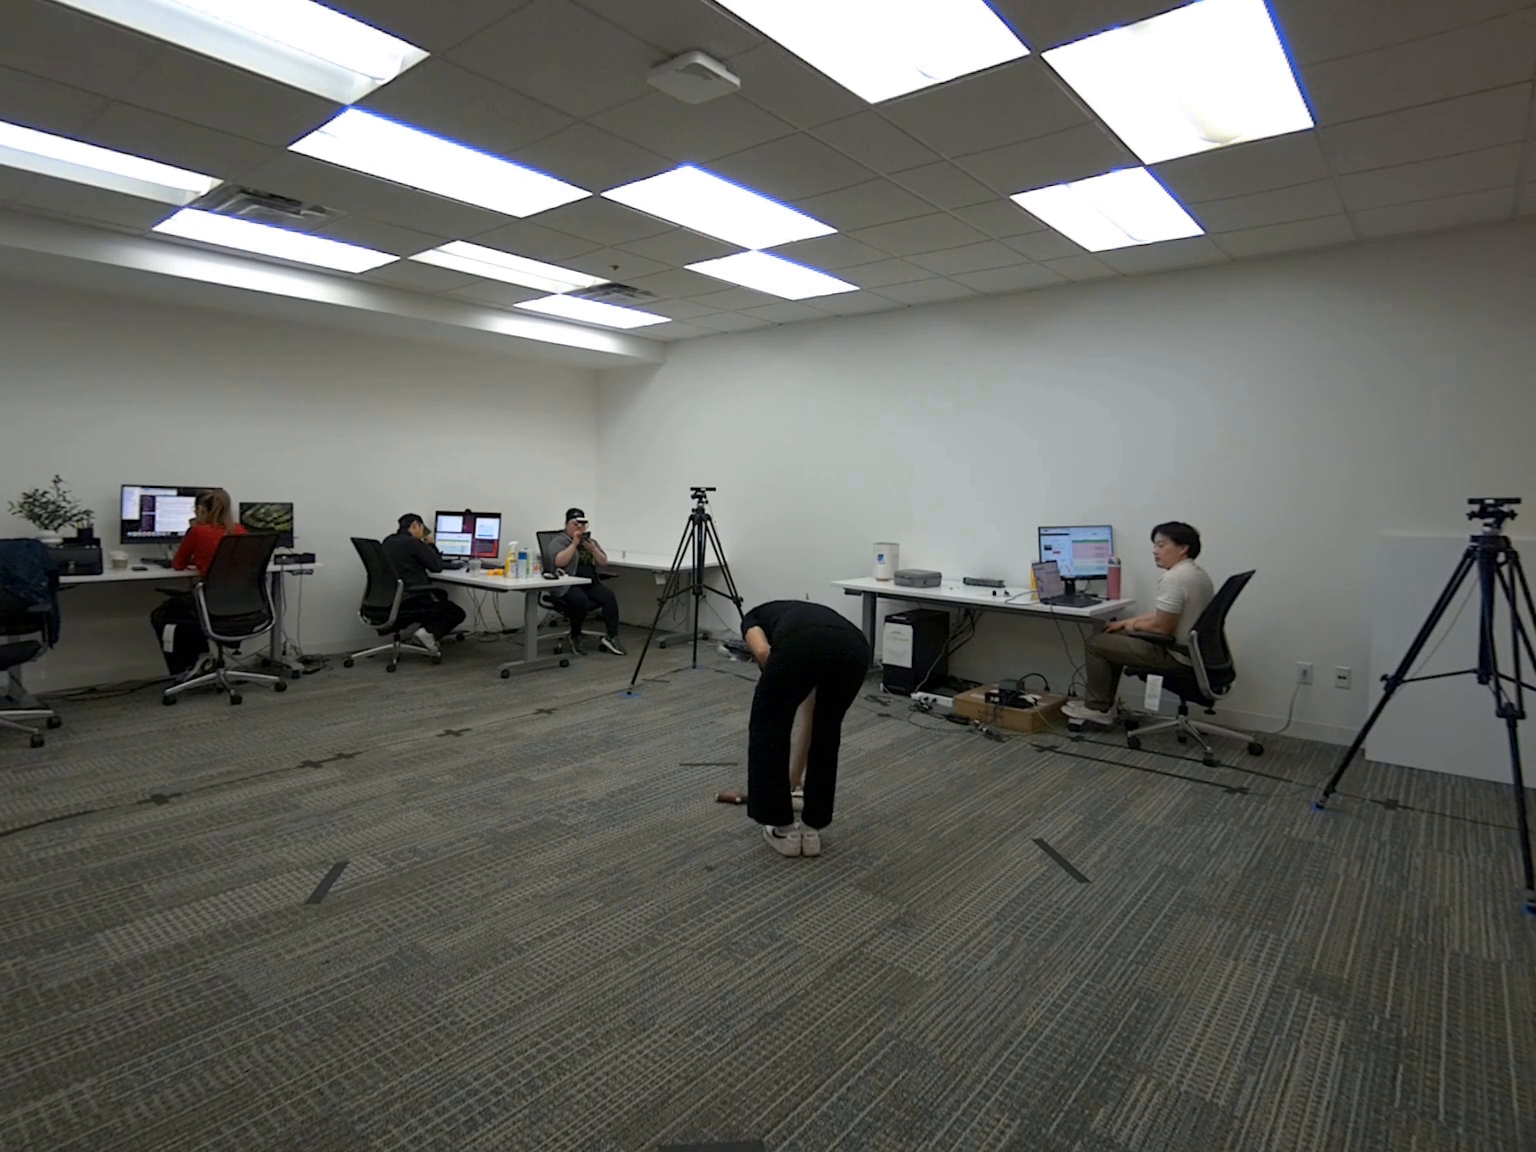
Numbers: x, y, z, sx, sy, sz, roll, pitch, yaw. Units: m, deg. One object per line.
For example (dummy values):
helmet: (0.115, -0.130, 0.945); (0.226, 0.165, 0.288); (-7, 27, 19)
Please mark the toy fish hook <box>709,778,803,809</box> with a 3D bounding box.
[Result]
toy fish hook: (0.005, 0.980, 3.793); (0.512, 0.048, 0.222); (2, -1, 9)
